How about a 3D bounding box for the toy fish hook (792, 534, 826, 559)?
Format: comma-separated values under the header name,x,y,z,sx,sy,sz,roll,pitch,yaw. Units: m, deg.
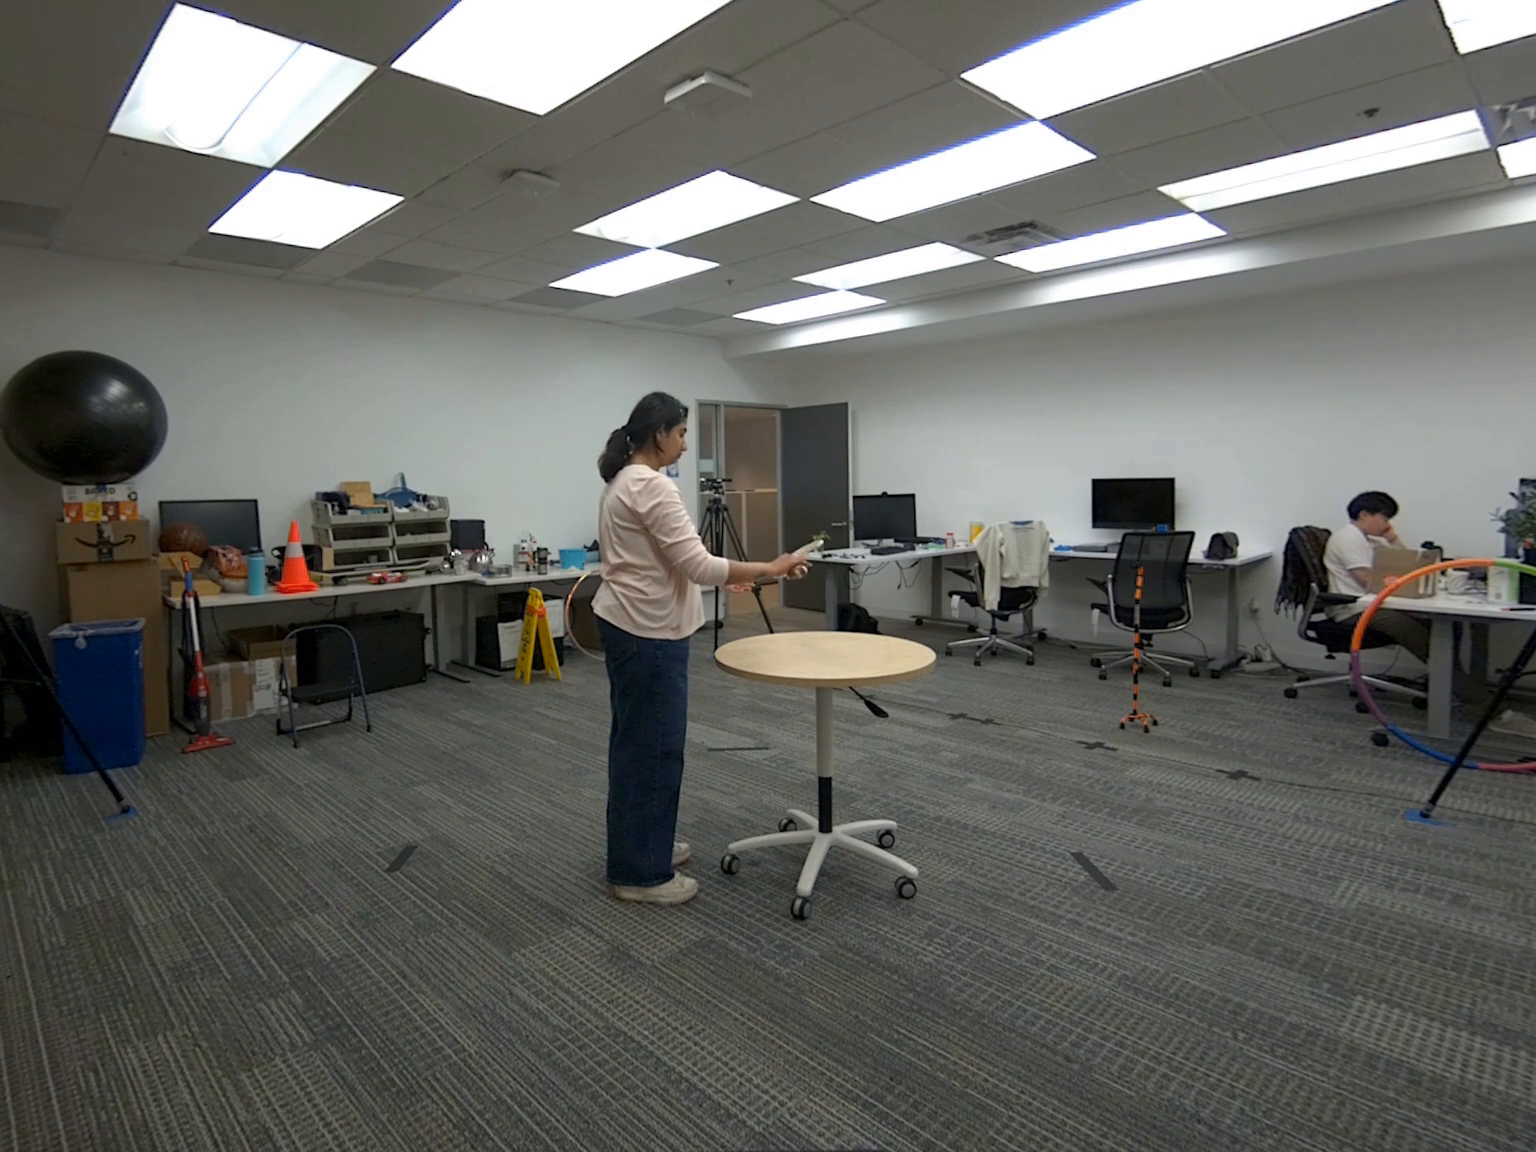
name,x,y,z,sx,sy,sz,roll,pitch,yaw
toy fish hook,0.125,-0.050,2.977,0.224,0.048,0.510,-40,7,-2
